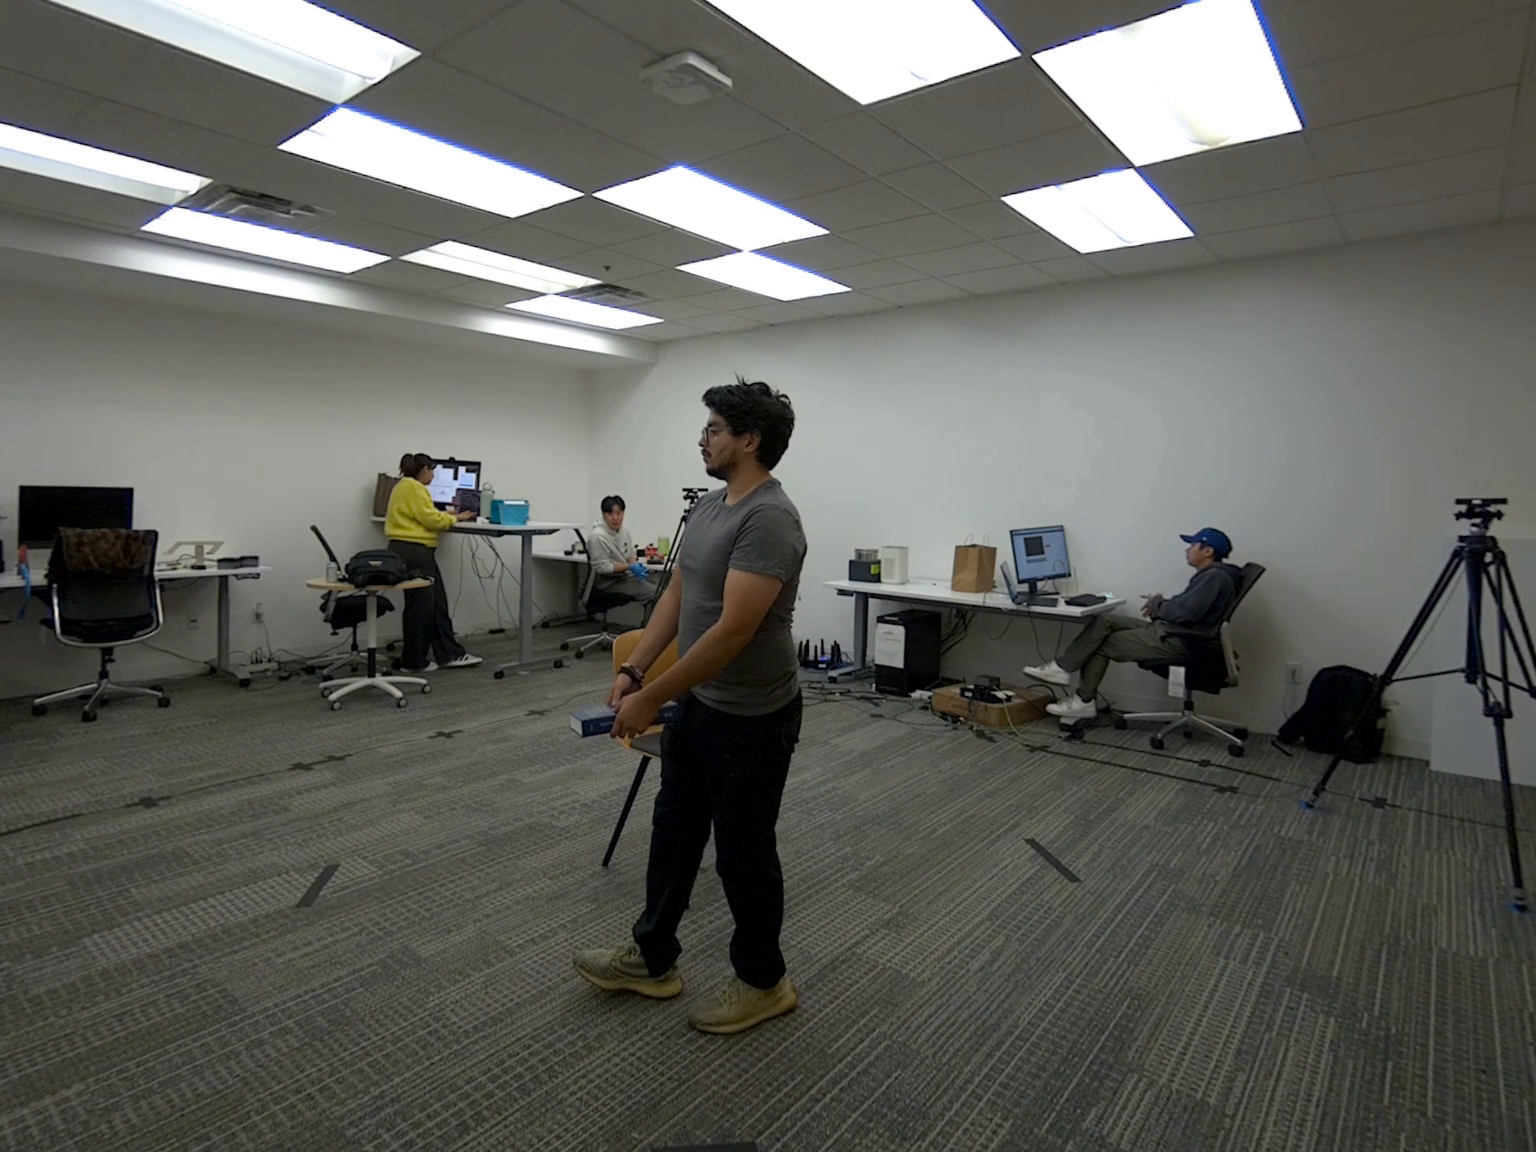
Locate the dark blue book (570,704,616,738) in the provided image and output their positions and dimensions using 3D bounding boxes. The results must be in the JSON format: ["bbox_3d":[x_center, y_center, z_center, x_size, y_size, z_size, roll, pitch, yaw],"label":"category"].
[{"bbox_3d":[-0.370,0.354,2.104,0.241,0.045,0.166,-3,-1,-19],"label":"dark blue book"}]
